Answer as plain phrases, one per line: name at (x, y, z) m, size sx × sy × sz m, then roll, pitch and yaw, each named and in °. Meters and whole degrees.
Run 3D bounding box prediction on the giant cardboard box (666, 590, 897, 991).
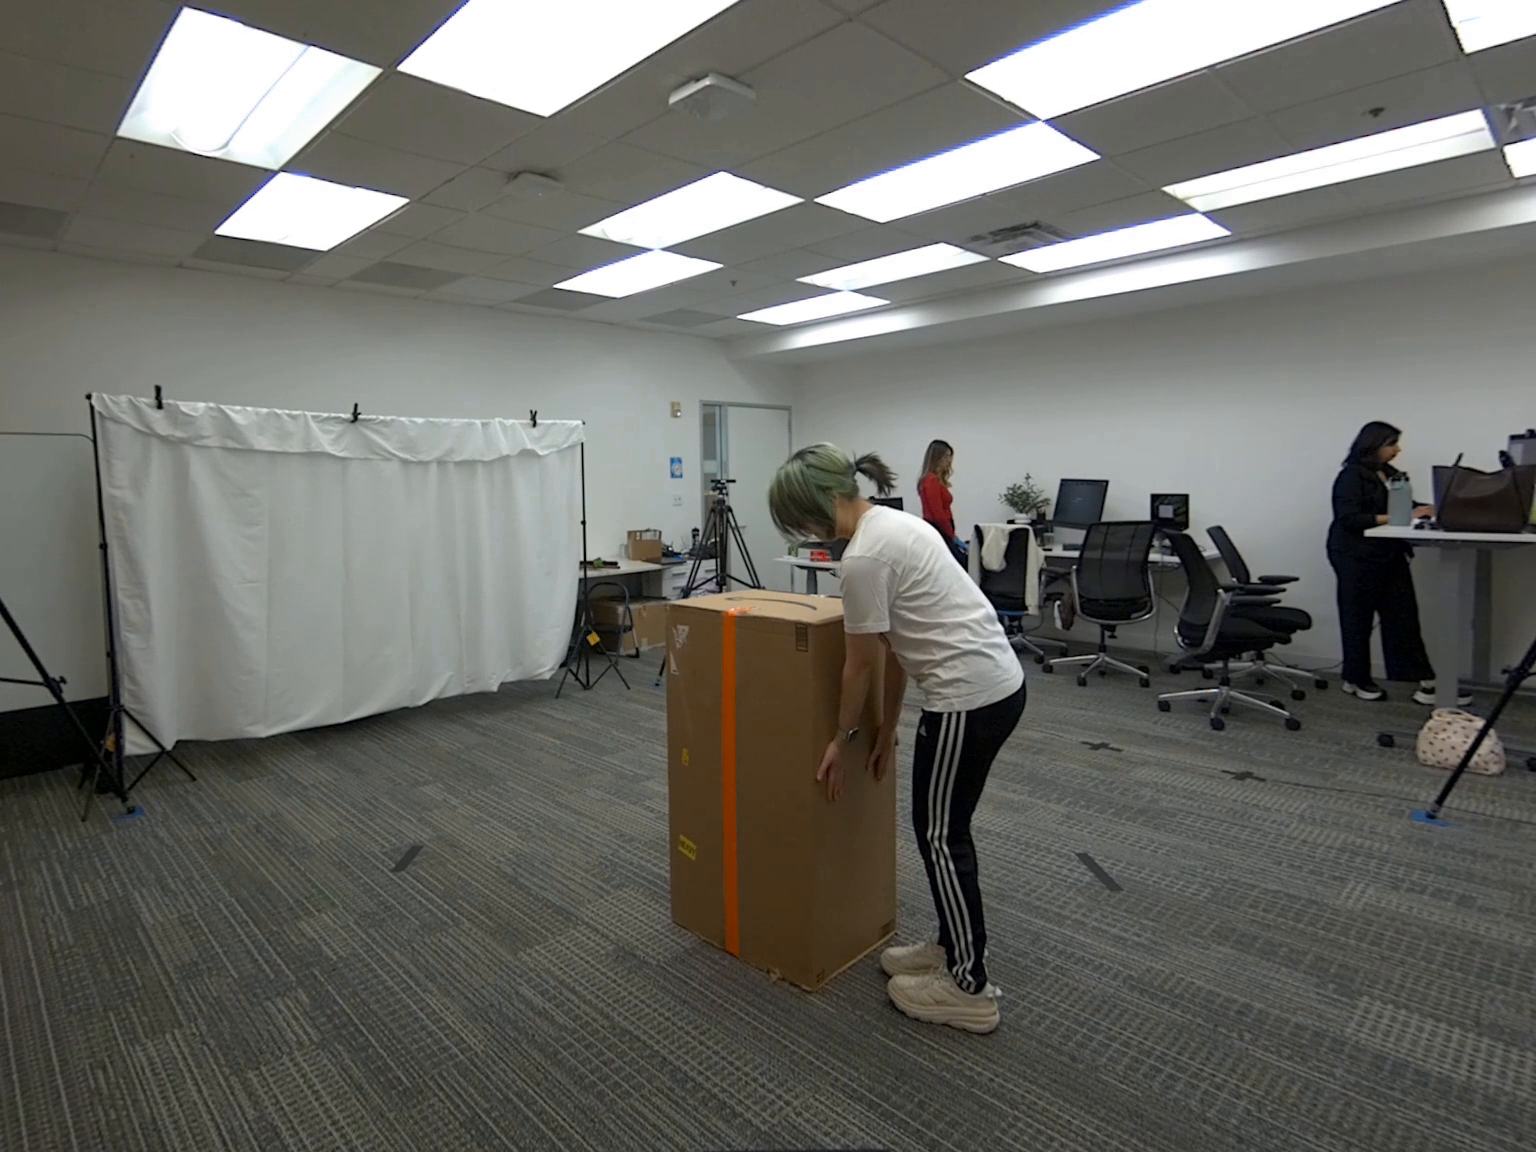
giant cardboard box at (0.035, 0.594, 2.633) m, size 0.602 × 1.024 × 0.435 m, roll 3°, pitch 5°, yaw 42°
